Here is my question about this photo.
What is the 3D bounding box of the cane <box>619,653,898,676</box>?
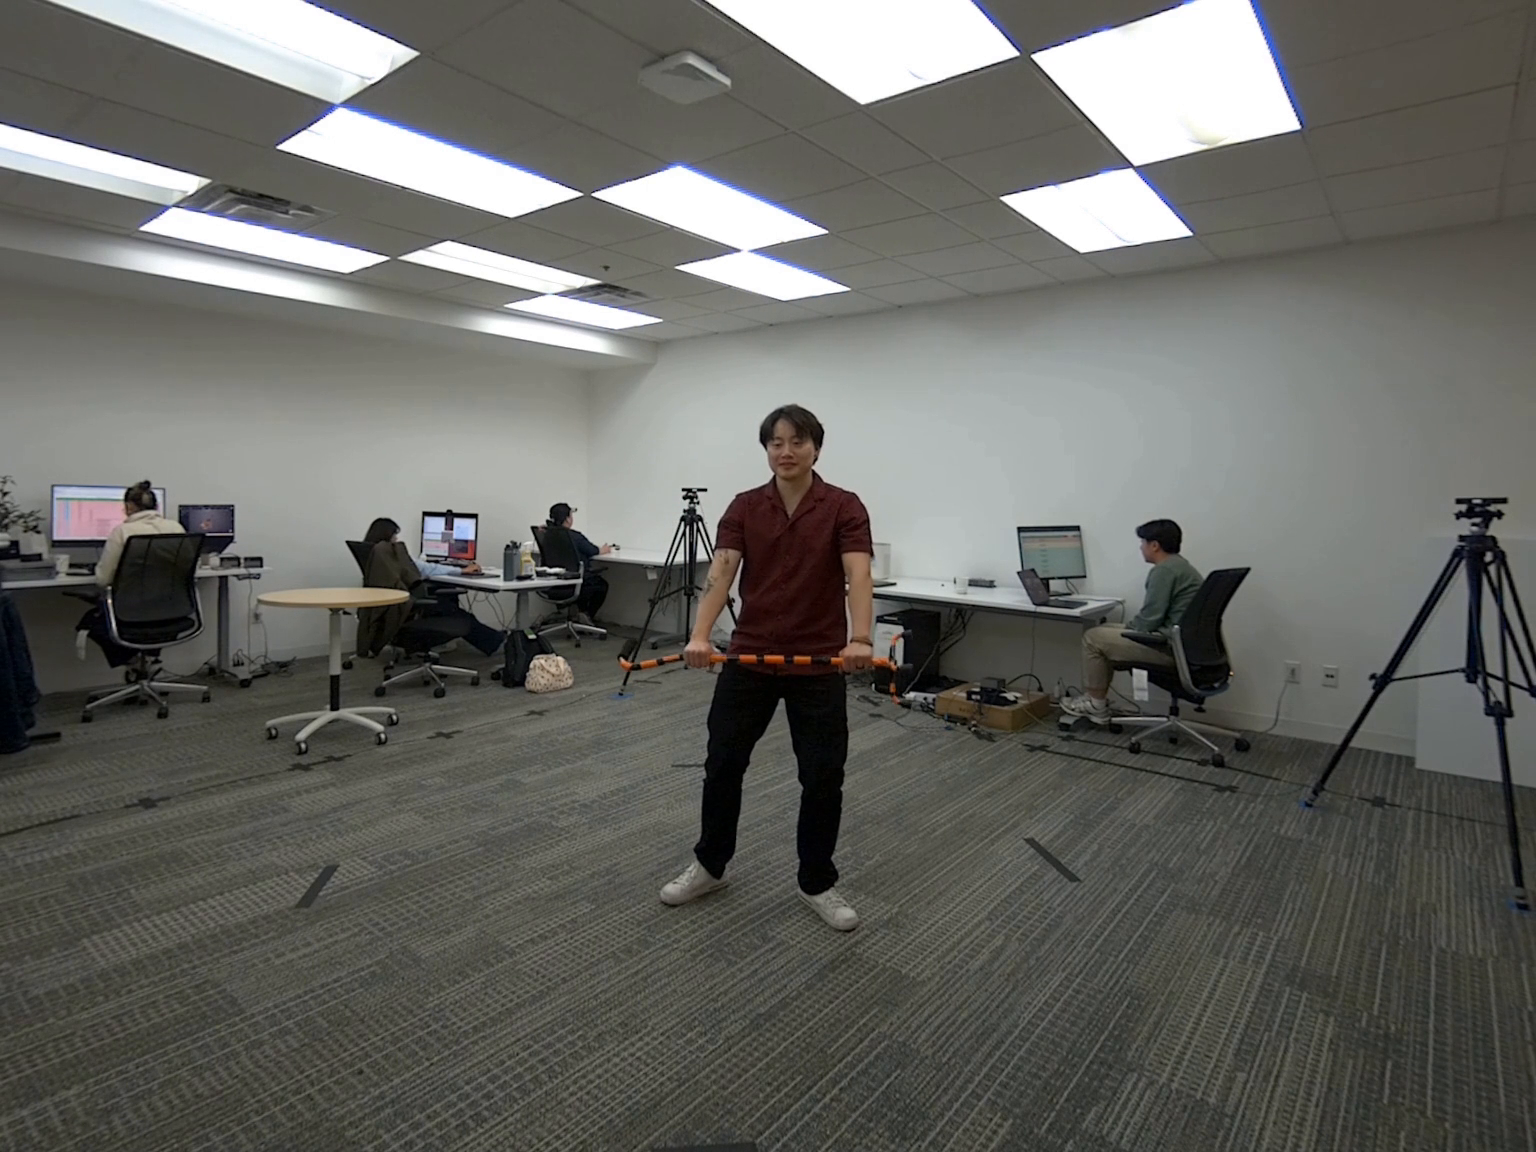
[{"bbox_3d":[-0.032,0.268,2.580,0.919,0.148,0.209,-1,27,12],"label":"cane"}]
